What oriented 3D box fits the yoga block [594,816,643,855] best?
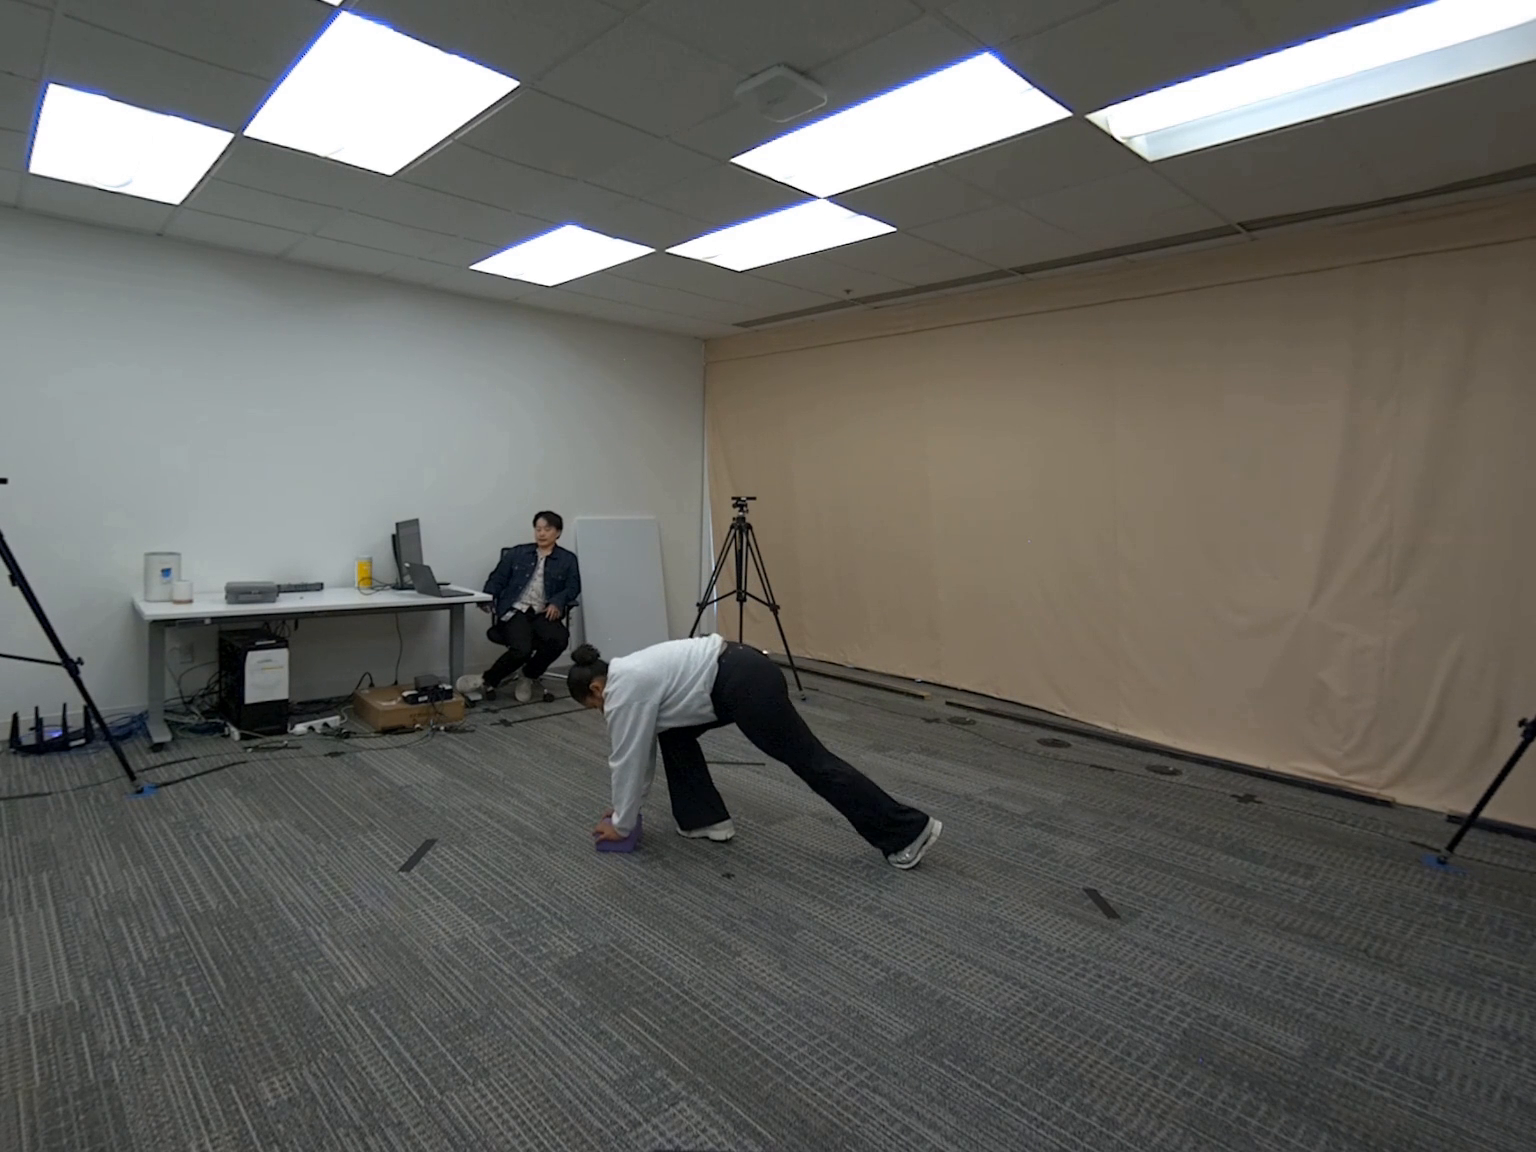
[{"bbox_3d":[-0.605,1.027,3.401,0.149,0.076,0.229,0,6,3],"label":"yoga block"}]
